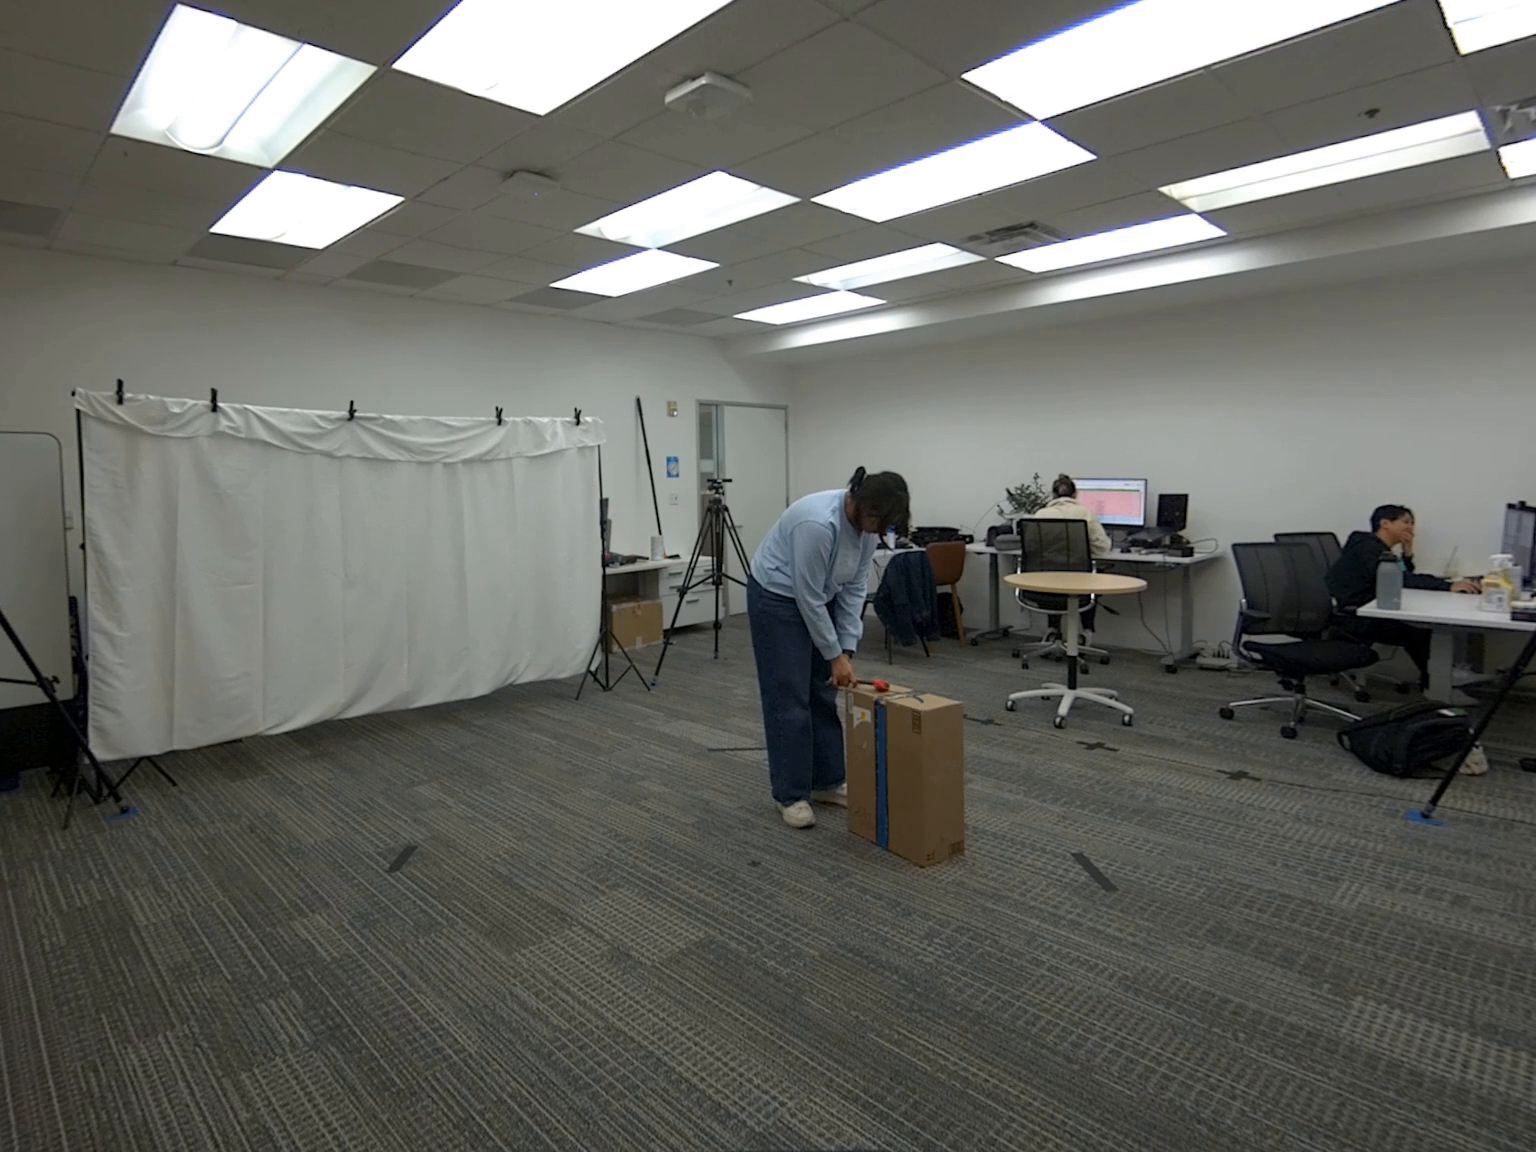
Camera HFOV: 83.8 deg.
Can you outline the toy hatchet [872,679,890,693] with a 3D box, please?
[{"bbox_3d":[0.377,0.434,3.408,0.126,0.030,0.277,18,-15,-39],"label":"toy hatchet"}]
